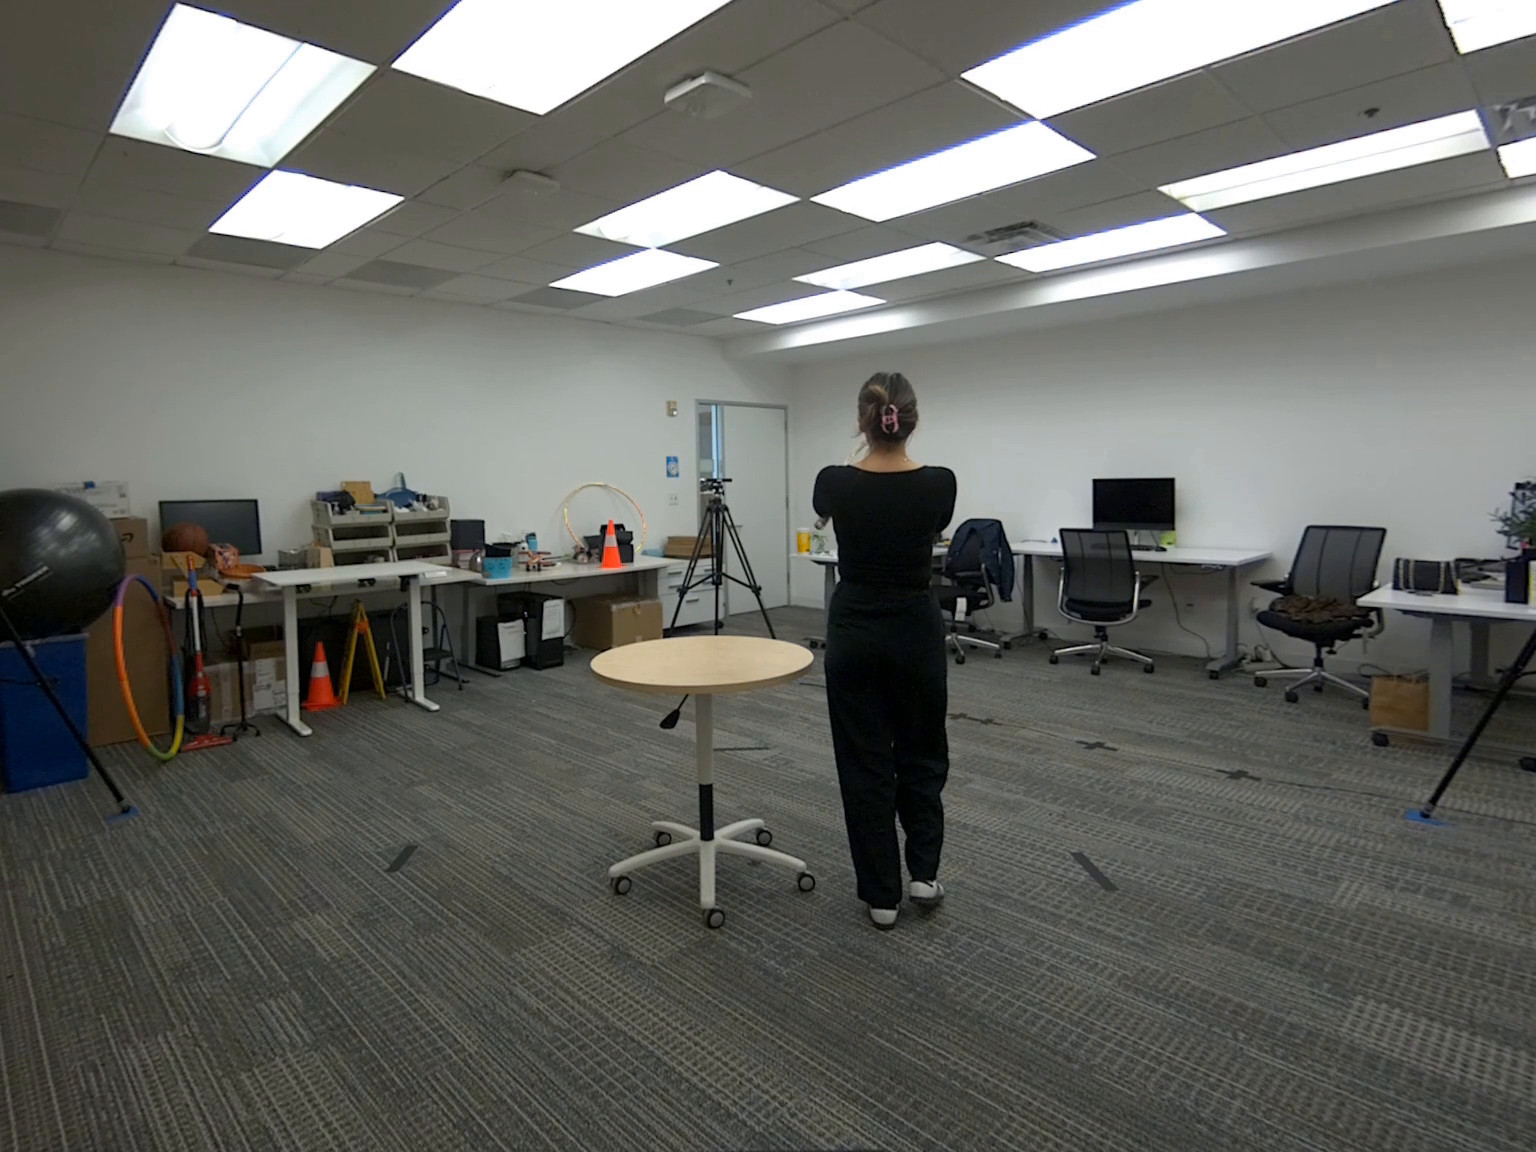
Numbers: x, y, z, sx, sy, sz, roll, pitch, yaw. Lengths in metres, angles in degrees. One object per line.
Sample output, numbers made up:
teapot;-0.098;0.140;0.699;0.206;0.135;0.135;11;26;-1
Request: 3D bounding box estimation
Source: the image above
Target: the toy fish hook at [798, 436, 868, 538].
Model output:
toy fish hook;0.315;-0.367;3.252;0.047;0.508;0.228;40;-15;-16
